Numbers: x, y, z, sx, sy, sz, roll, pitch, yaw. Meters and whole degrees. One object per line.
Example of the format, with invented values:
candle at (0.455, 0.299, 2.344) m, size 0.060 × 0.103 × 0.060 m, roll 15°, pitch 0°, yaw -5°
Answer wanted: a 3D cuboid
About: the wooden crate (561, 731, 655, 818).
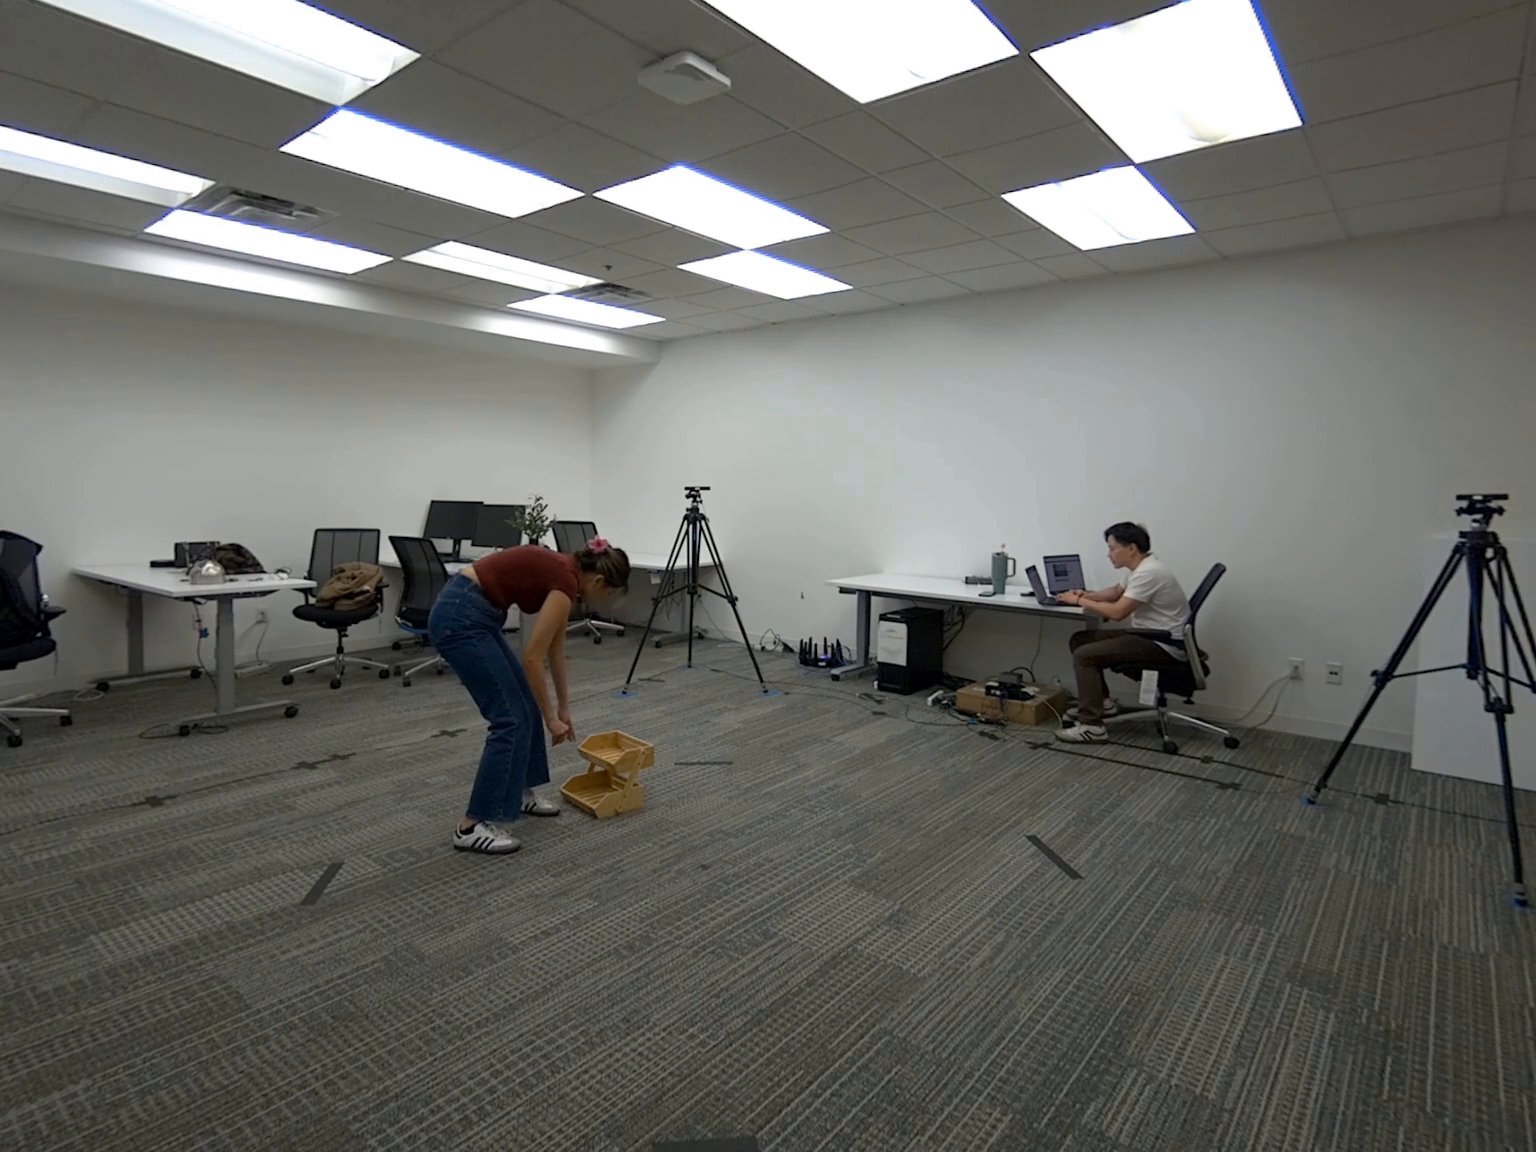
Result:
wooden crate at (-0.728, 0.859, 3.750) m, size 0.293 × 0.272 × 0.336 m, roll -3°, pitch 6°, yaw -42°
